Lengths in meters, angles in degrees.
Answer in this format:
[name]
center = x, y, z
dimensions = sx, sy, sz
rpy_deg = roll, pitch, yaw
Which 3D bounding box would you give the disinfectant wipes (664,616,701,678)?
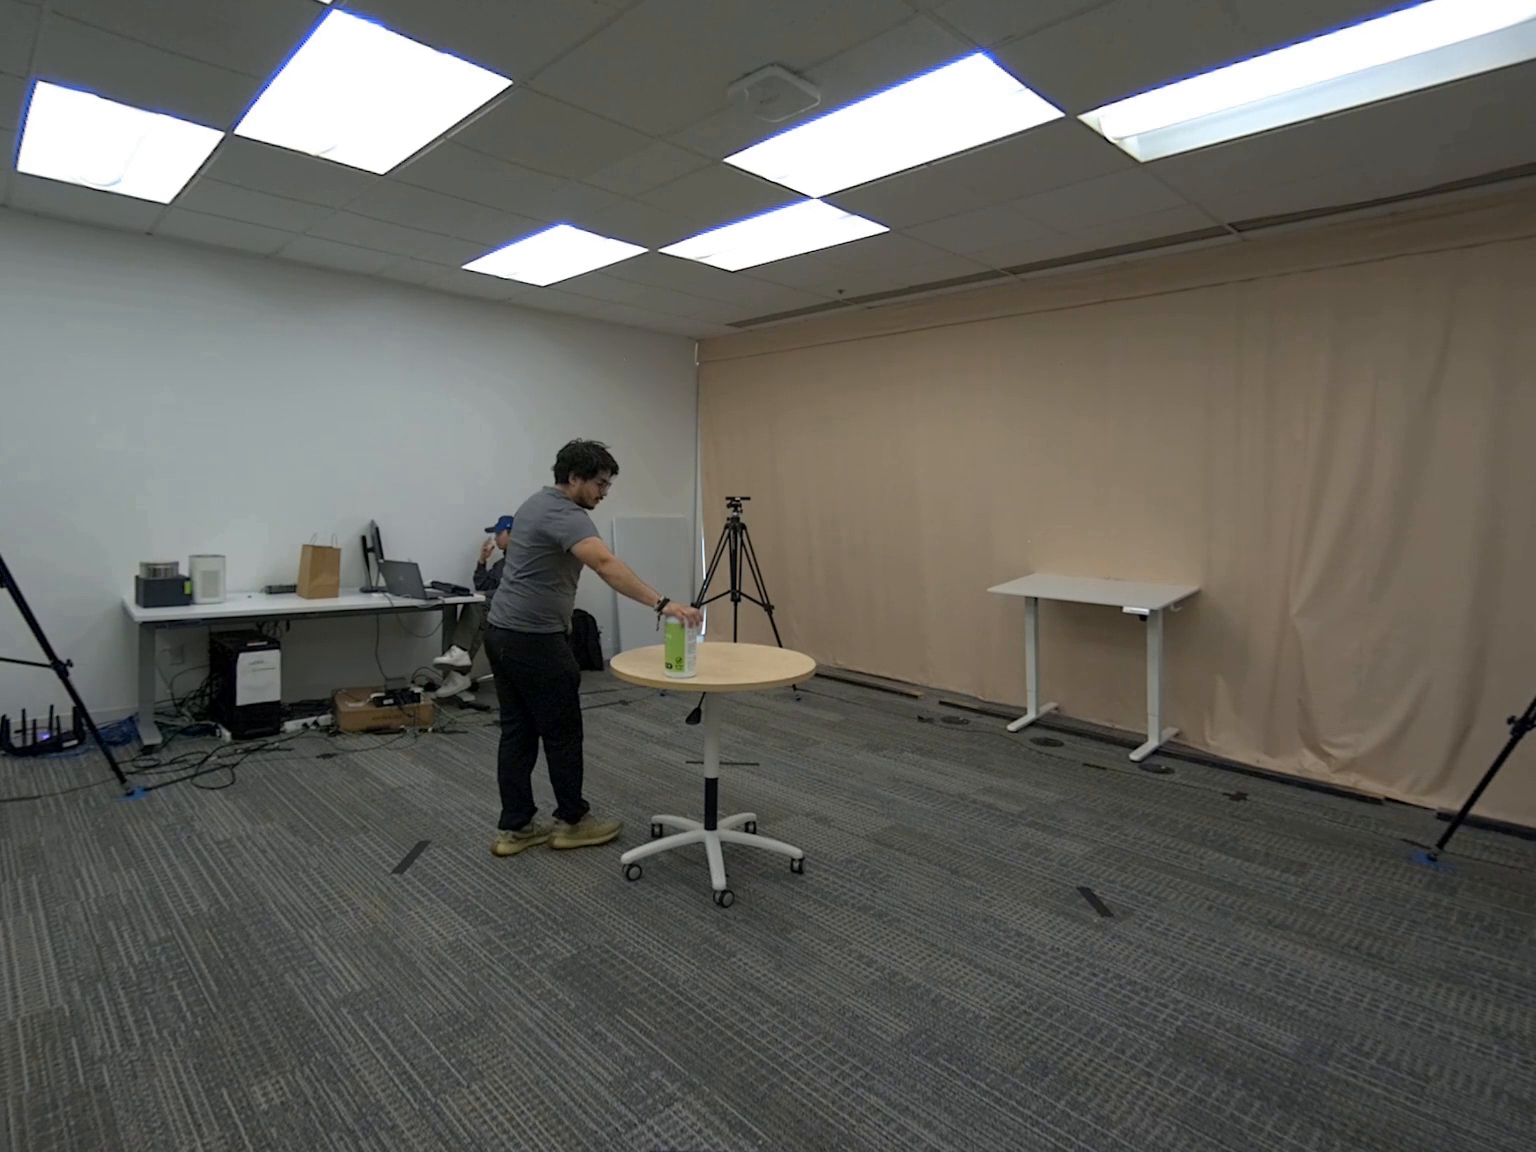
[disinfectant wipes]
center = -0.307, 0.237, 2.894
dimensions = 0.118, 0.217, 0.118
rpy_deg = -1, 5, -1
